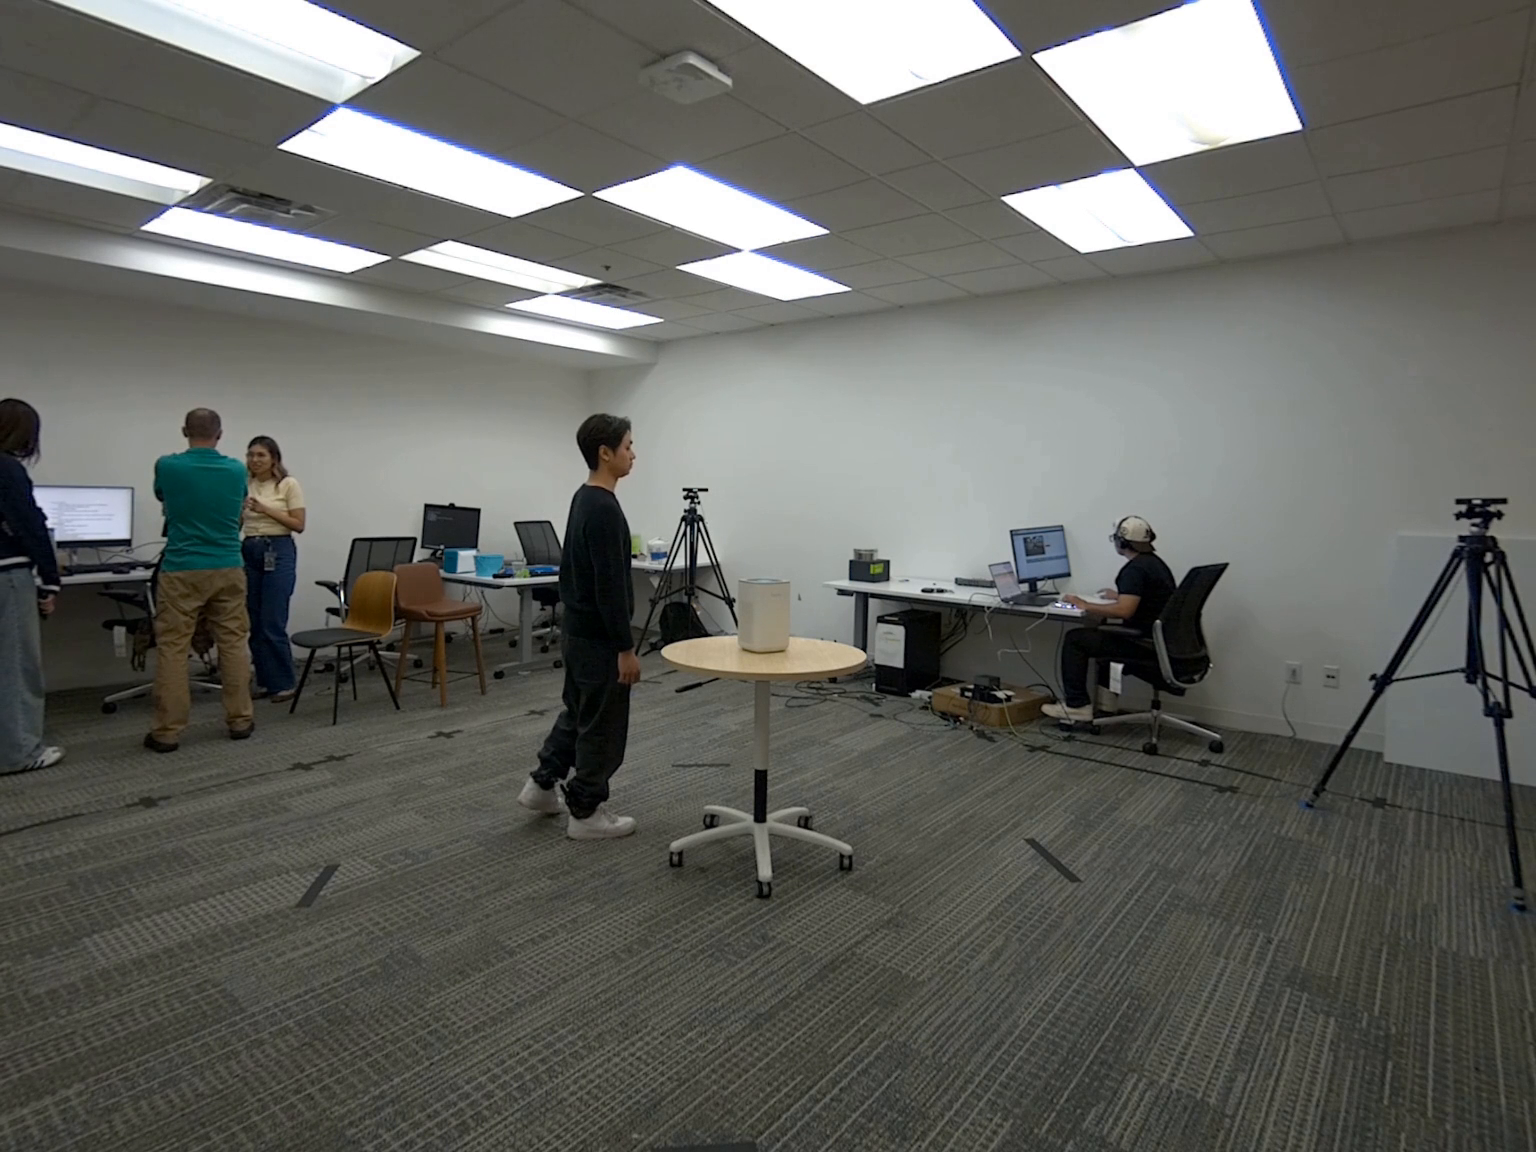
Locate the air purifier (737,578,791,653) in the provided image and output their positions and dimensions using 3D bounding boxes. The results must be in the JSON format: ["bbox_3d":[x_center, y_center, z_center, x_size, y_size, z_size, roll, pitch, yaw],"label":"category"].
[{"bbox_3d":[-0.029,0.147,3.231,0.166,0.265,0.177,-1,3,-35],"label":"air purifier"}]
